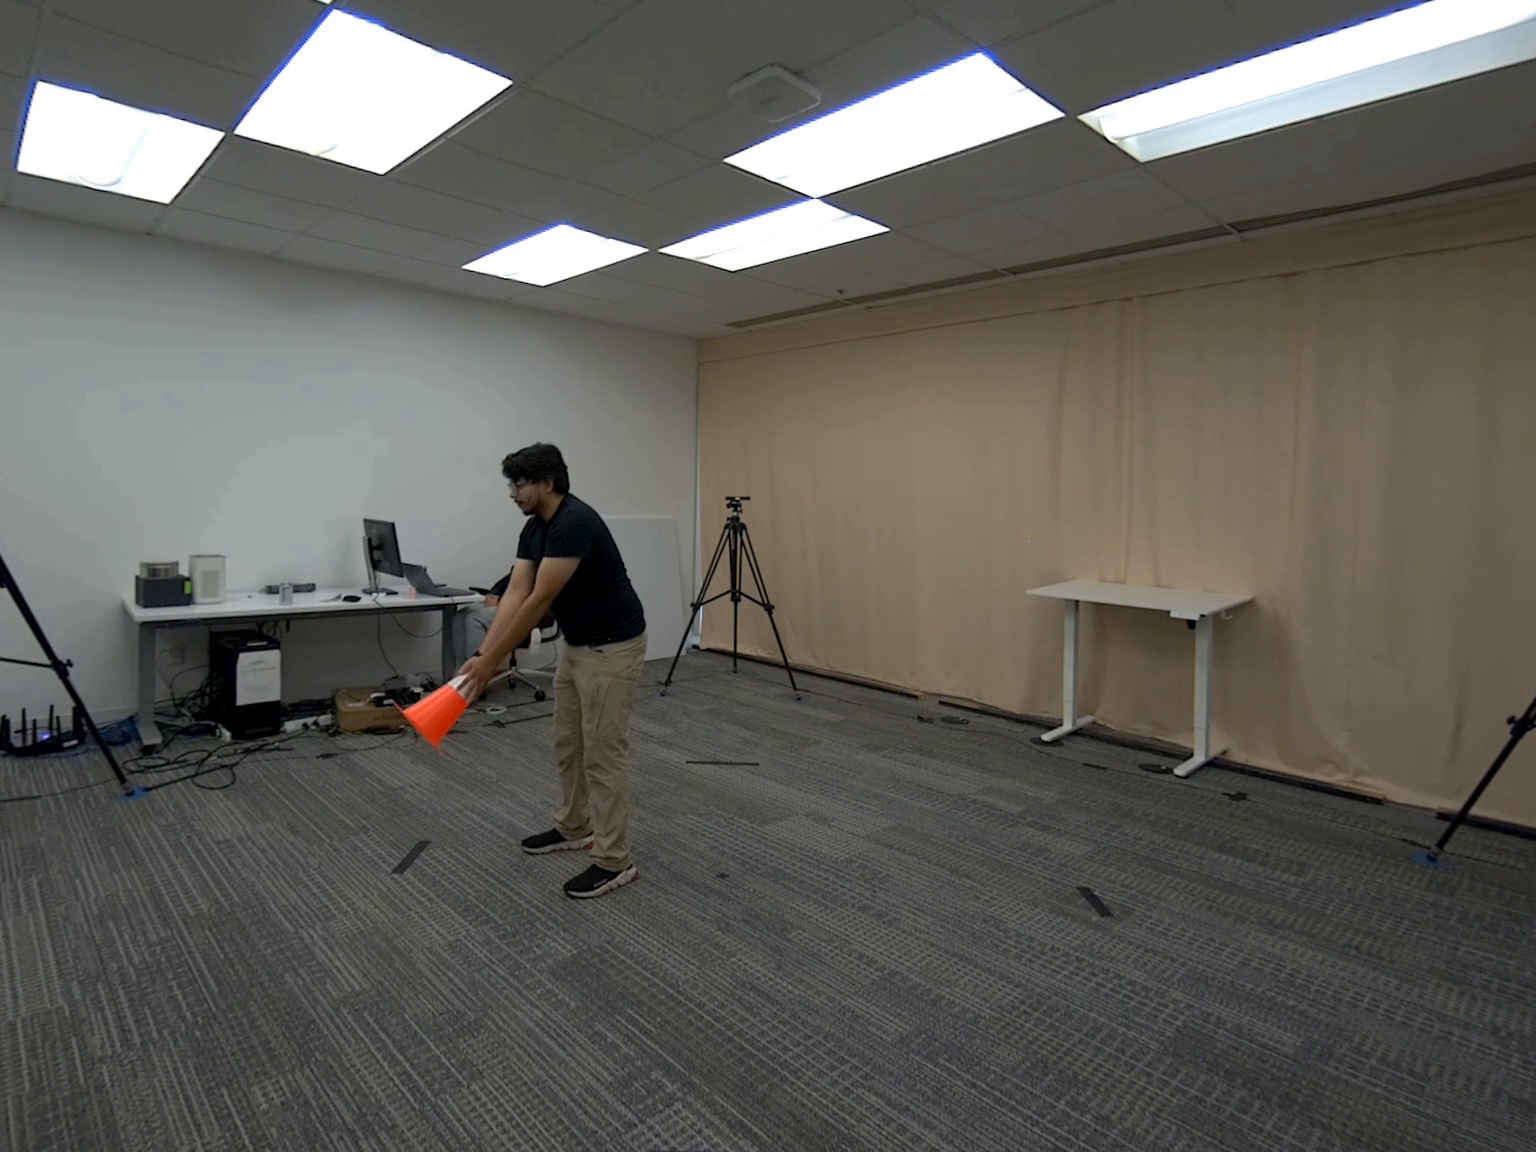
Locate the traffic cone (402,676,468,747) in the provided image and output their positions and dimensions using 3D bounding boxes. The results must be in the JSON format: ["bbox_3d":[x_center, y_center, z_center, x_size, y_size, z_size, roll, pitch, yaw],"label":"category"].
[{"bbox_3d":[-1.070,0.402,2.922,0.383,0.200,0.209,-42,28,-21],"label":"traffic cone"}]
